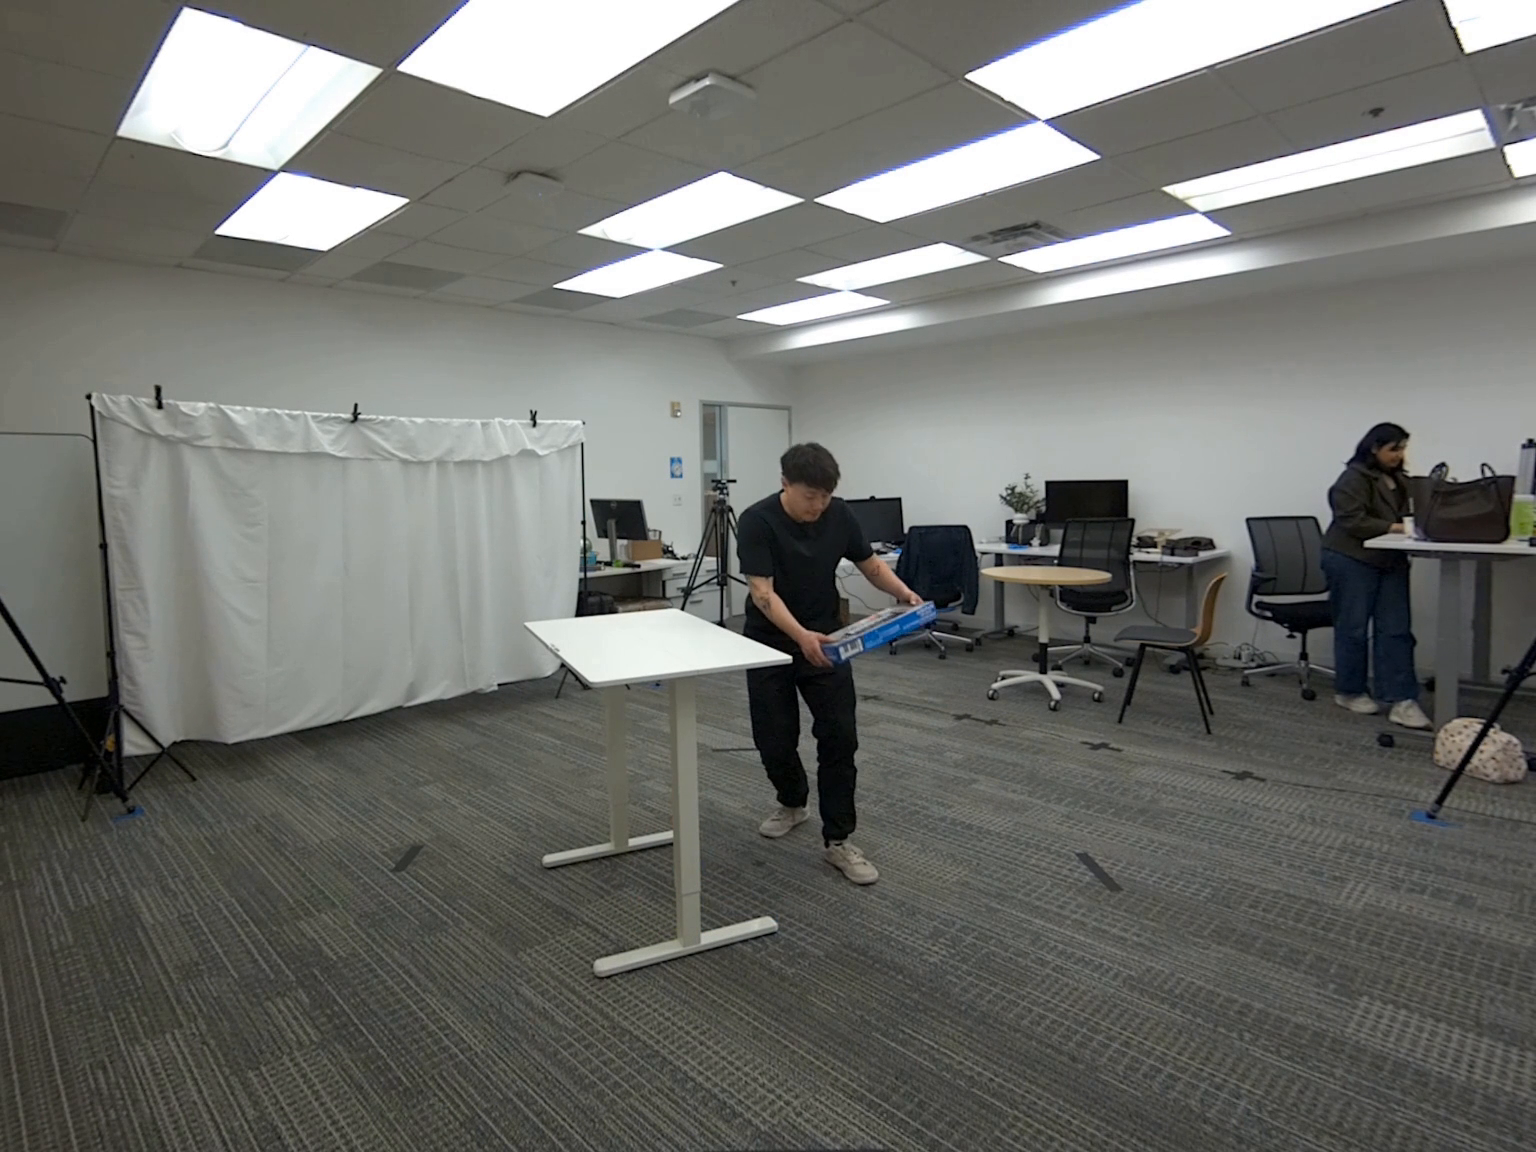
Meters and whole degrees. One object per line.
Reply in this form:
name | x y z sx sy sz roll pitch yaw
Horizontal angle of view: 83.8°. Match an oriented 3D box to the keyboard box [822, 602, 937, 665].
keyboard box | 0.351 0.197 2.920 0.430 0.059 0.180 -19 9 -27
